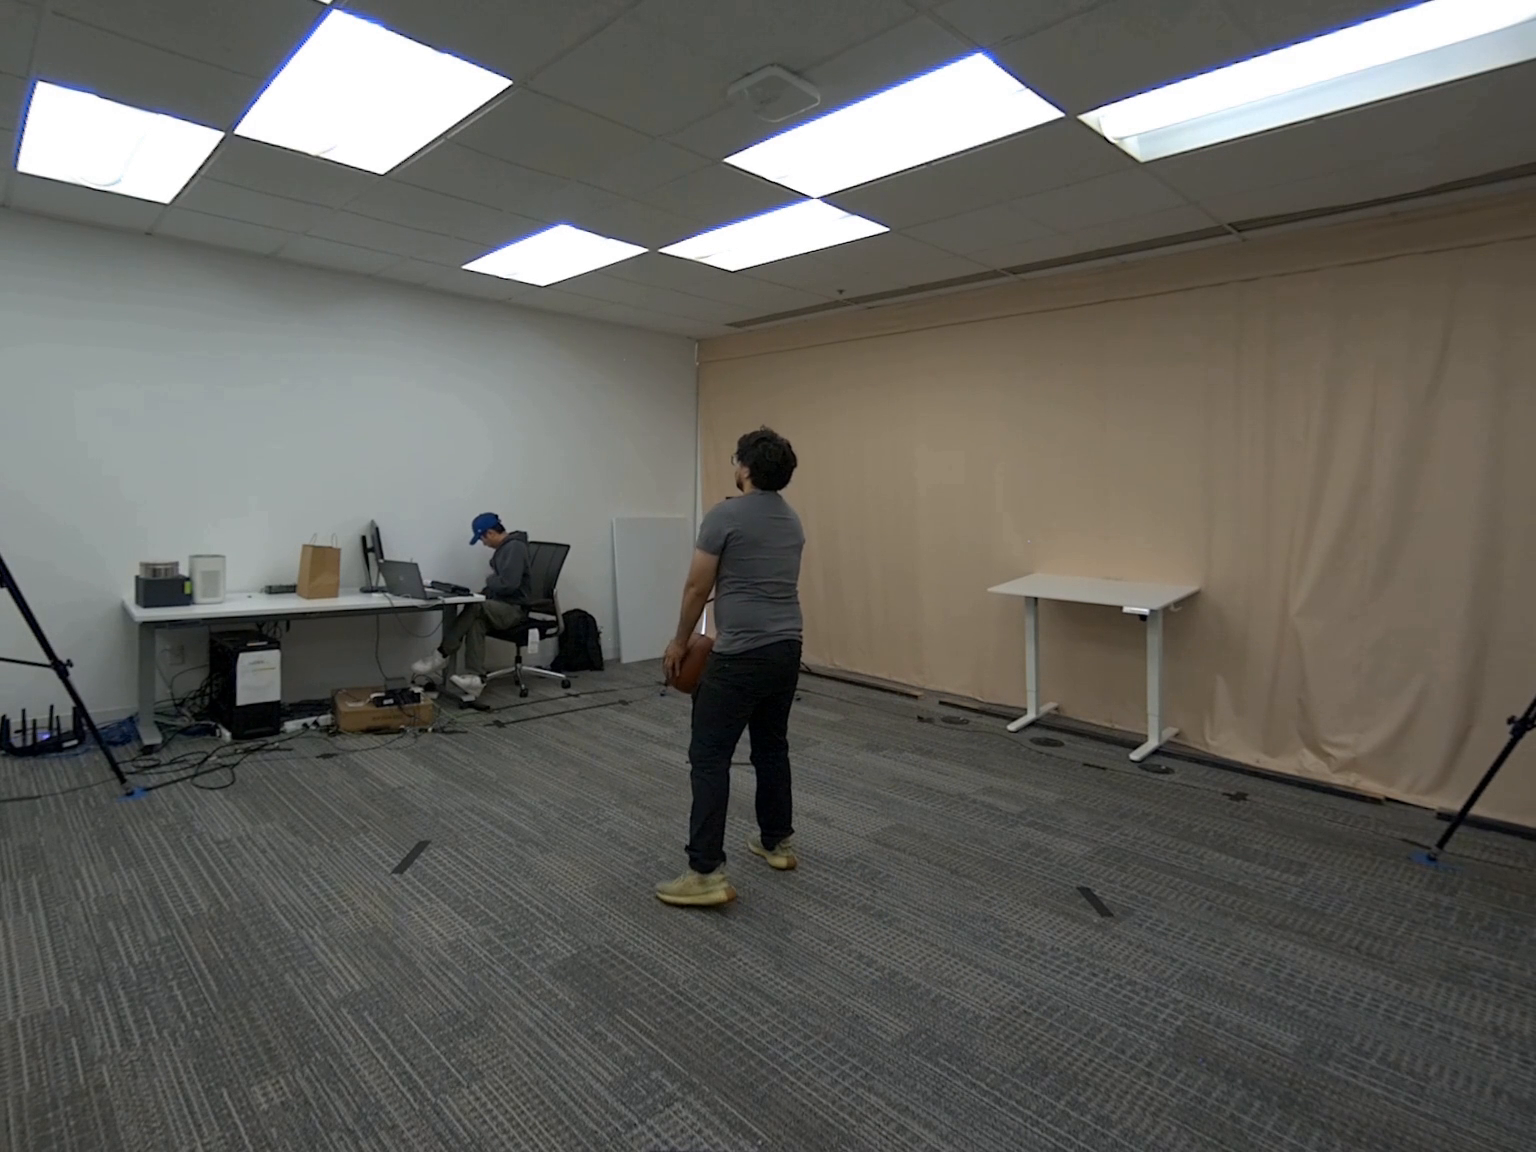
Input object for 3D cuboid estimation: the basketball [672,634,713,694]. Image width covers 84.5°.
[{"bbox_3d":[-0.297,0.340,3.298,0.236,0.235,0.237,1,4,-1],"label":"basketball"}]
